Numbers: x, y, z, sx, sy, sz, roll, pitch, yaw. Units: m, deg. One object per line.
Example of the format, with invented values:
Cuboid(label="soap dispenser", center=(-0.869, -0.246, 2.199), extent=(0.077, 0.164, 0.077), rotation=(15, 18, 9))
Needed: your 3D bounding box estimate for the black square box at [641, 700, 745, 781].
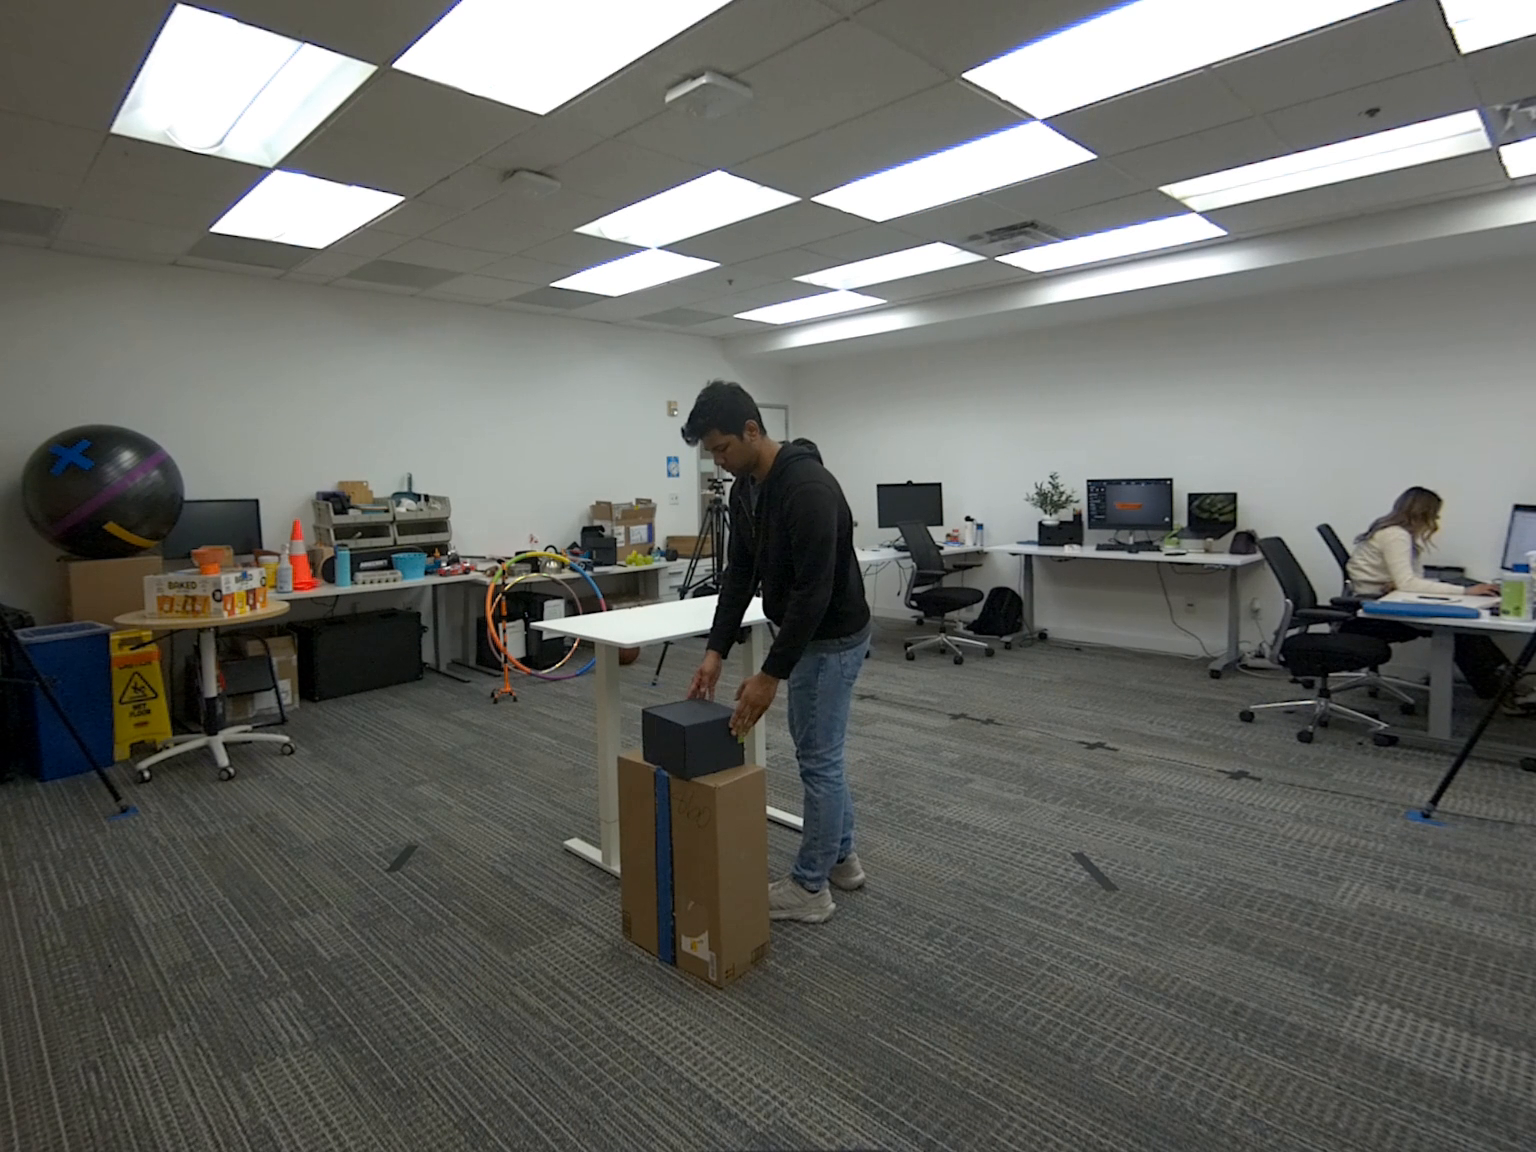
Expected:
Cuboid(label="black square box", center=(-0.222, 0.472, 2.512), extent=(0.211, 0.155, 0.235), rotation=(-5, 7, -39))
